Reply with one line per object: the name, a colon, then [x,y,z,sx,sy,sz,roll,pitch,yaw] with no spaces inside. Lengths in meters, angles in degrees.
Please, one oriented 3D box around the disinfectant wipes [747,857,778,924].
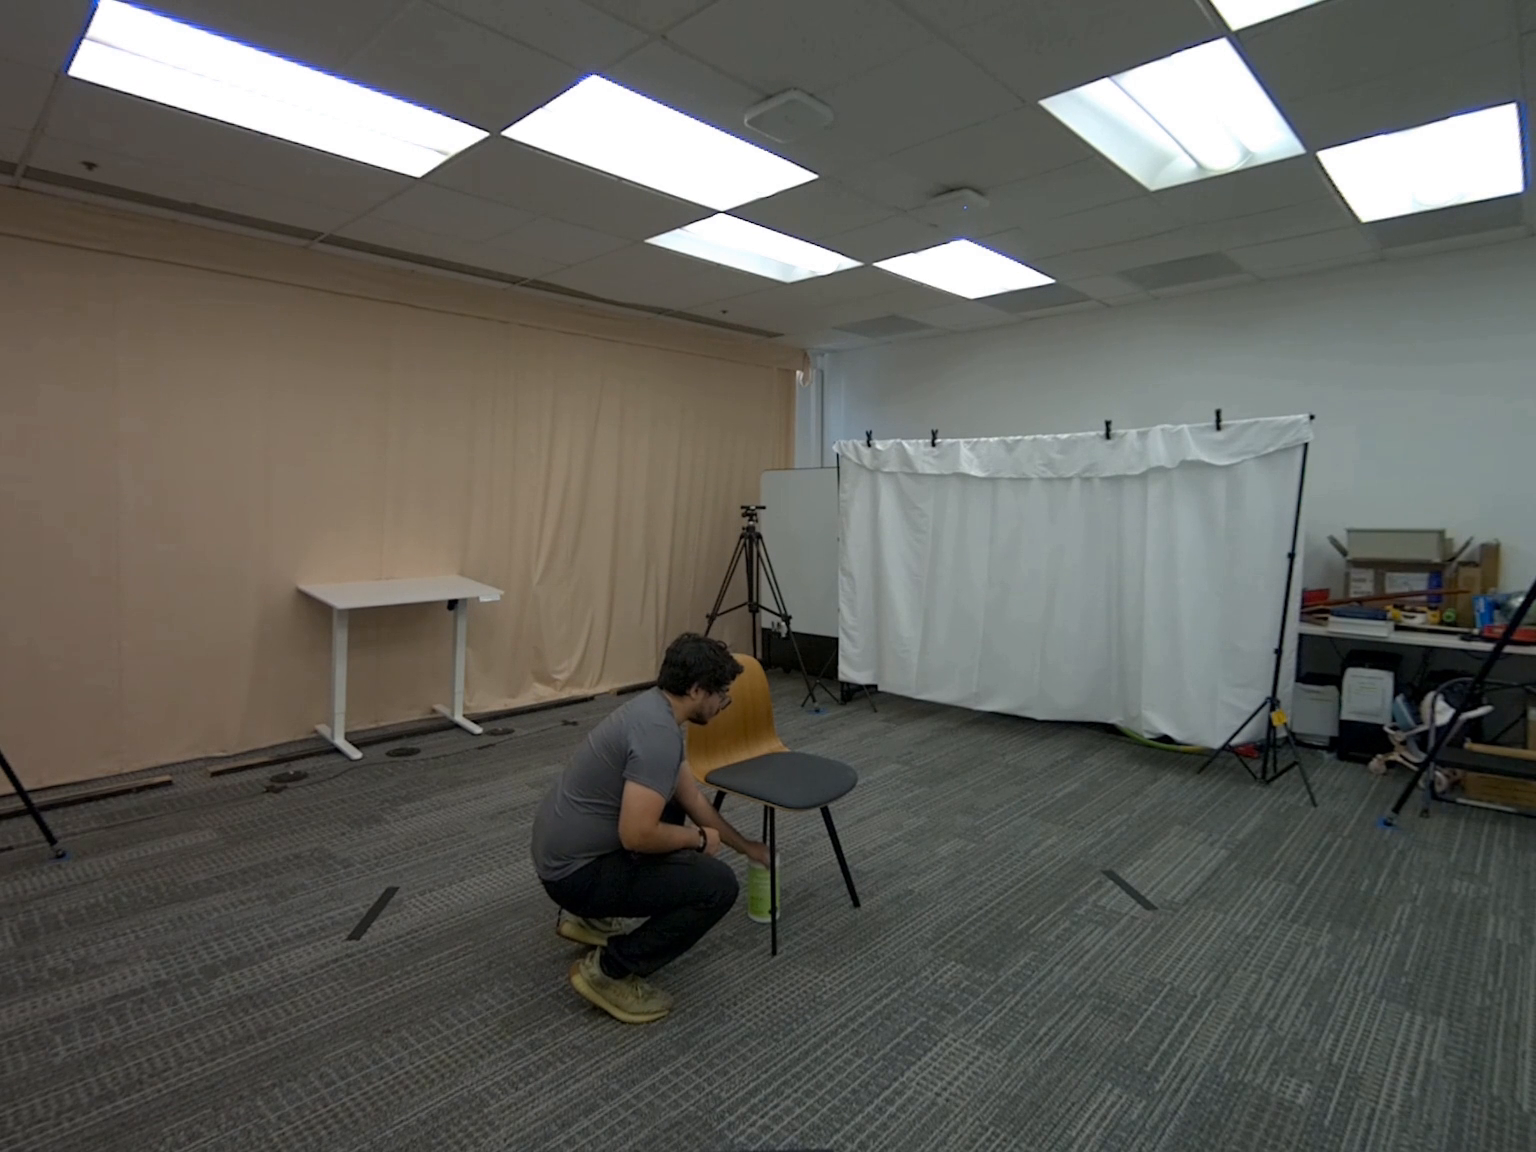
disinfectant wipes: [-0.018,1.060,2.848,0.118,0.216,0.118,0,6,-2]
